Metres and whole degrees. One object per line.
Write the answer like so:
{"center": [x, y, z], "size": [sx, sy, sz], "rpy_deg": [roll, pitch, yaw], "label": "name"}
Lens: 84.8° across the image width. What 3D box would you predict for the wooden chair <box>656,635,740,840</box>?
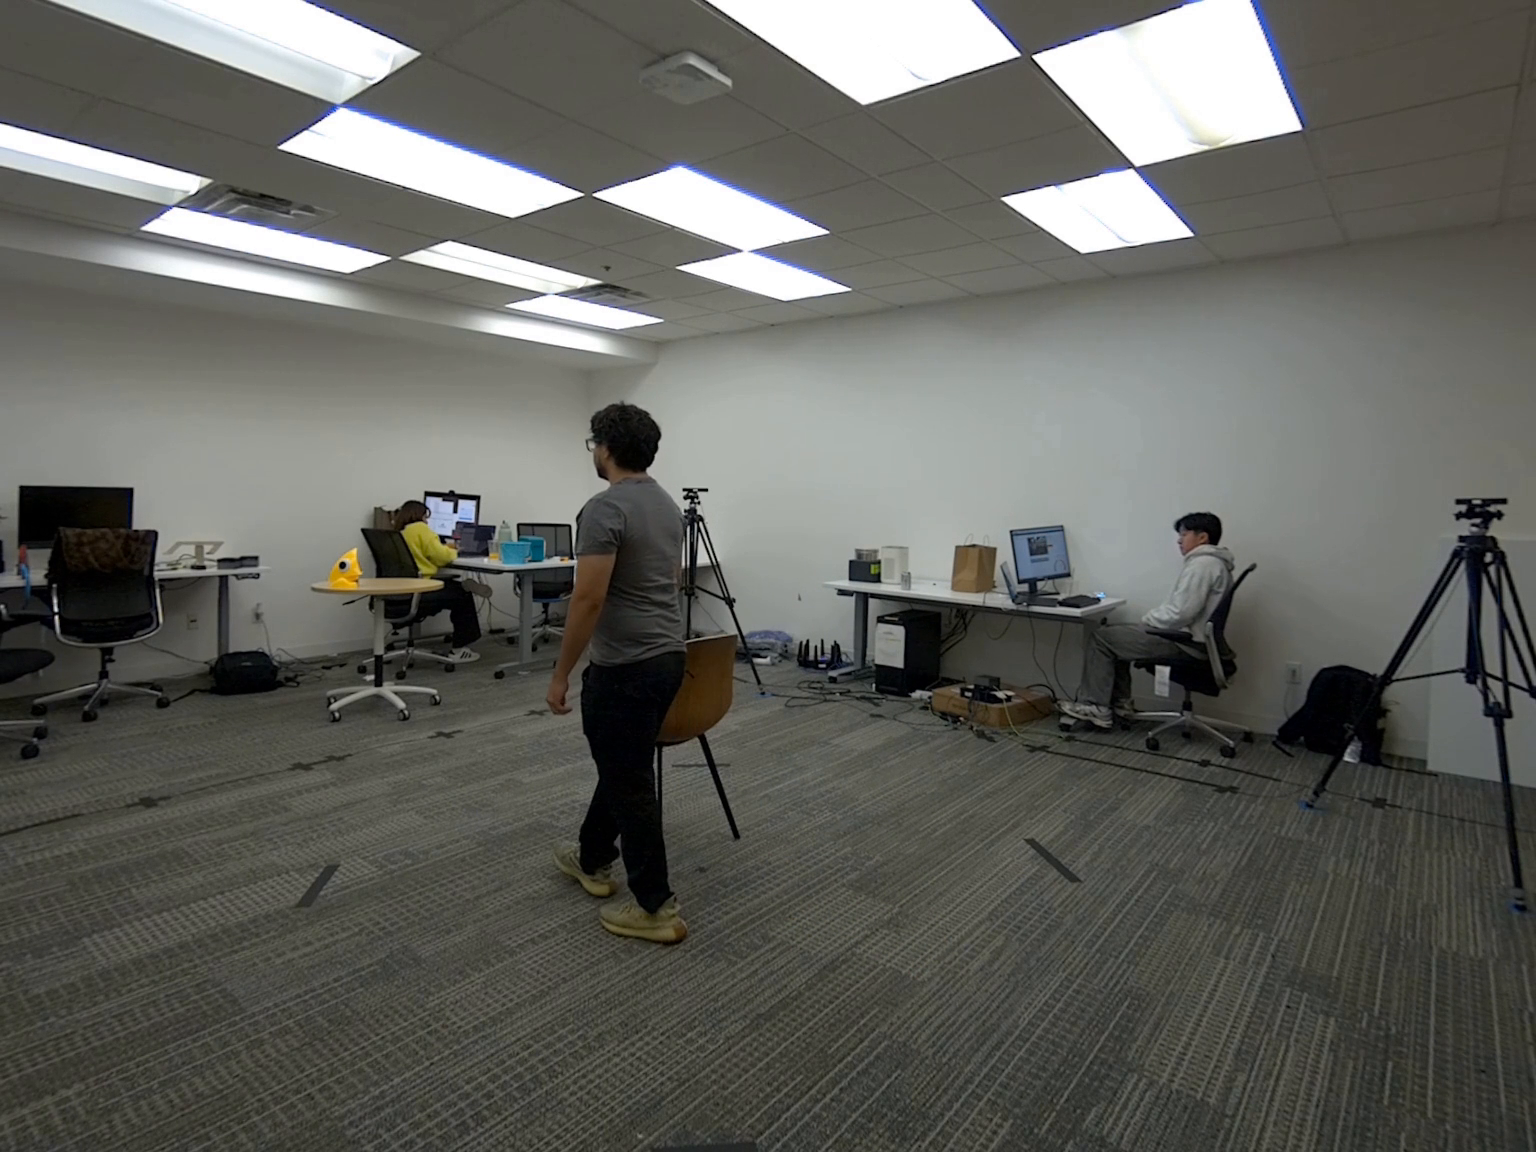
{"center": [-0.433, 0.617, 3.352], "size": [0.542, 0.873, 0.464], "rpy_deg": [9, 7, 38], "label": "wooden chair"}
